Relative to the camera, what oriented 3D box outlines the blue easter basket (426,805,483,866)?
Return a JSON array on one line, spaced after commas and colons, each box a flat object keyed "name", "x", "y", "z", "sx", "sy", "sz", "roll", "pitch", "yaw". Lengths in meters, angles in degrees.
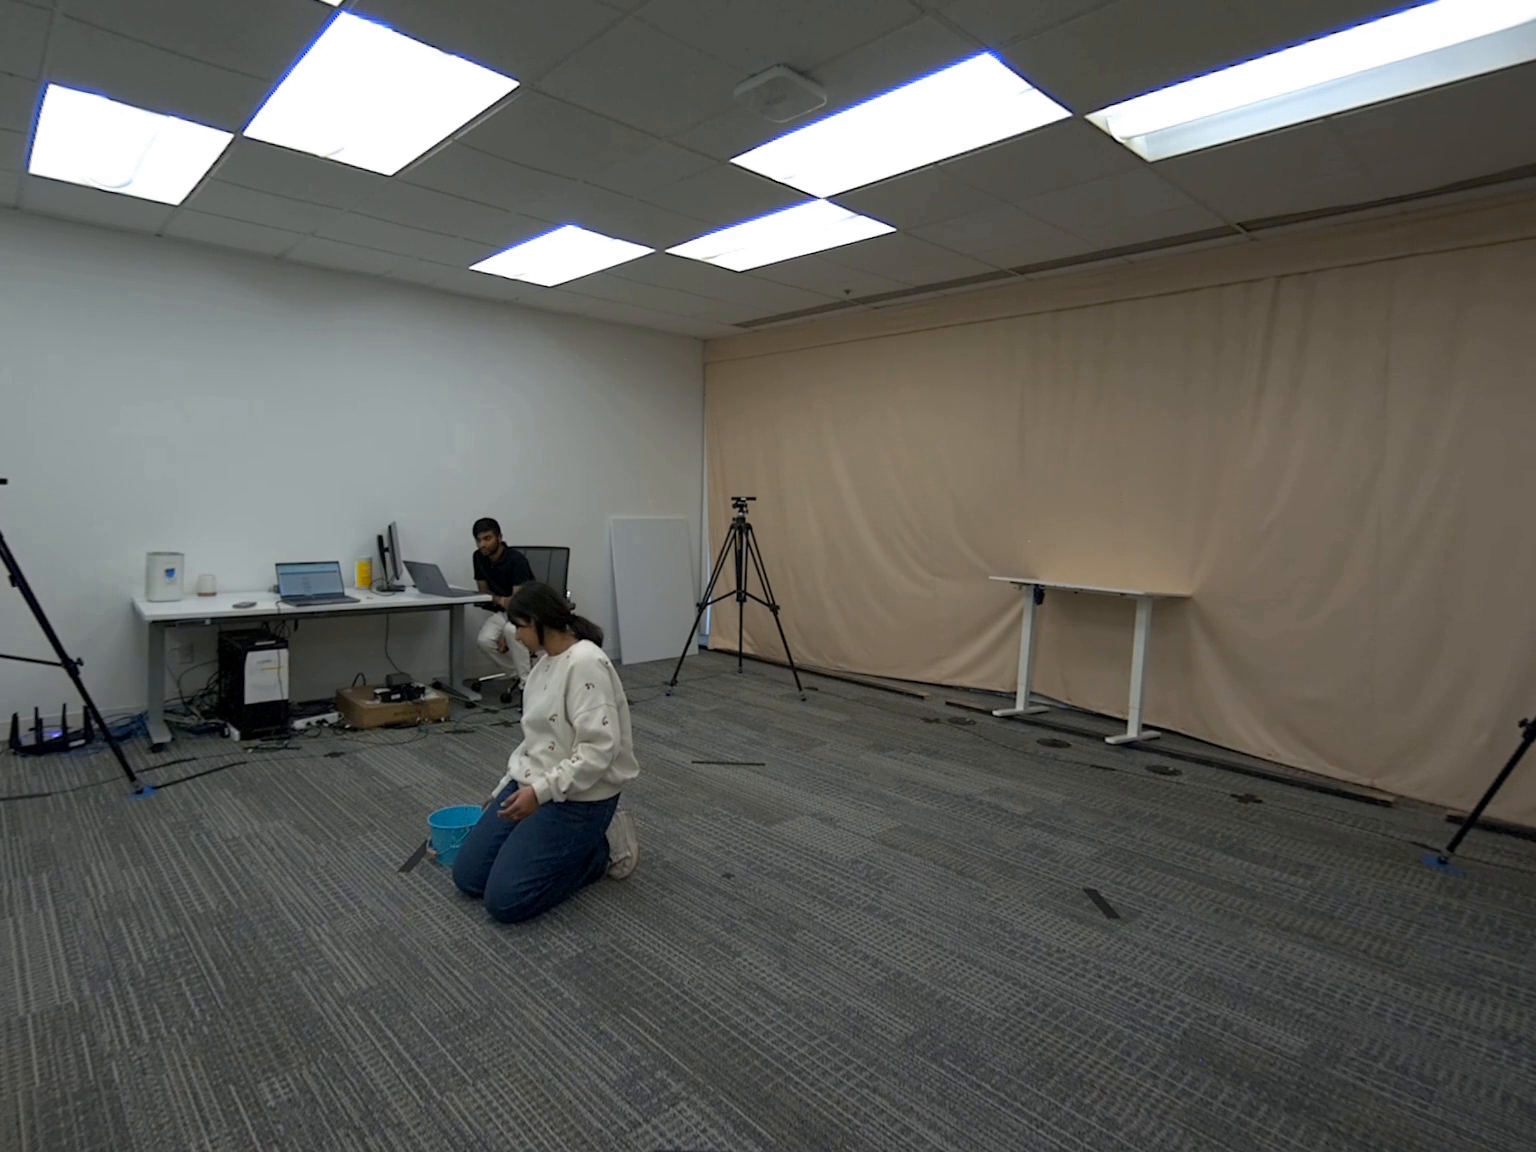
[{"name": "blue easter basket", "x": -1.189, "y": 0.989, "z": 3.236, "sx": 0.243, "sy": 0.155, "sz": 0.244, "roll": 2, "pitch": 5, "yaw": -1}]
